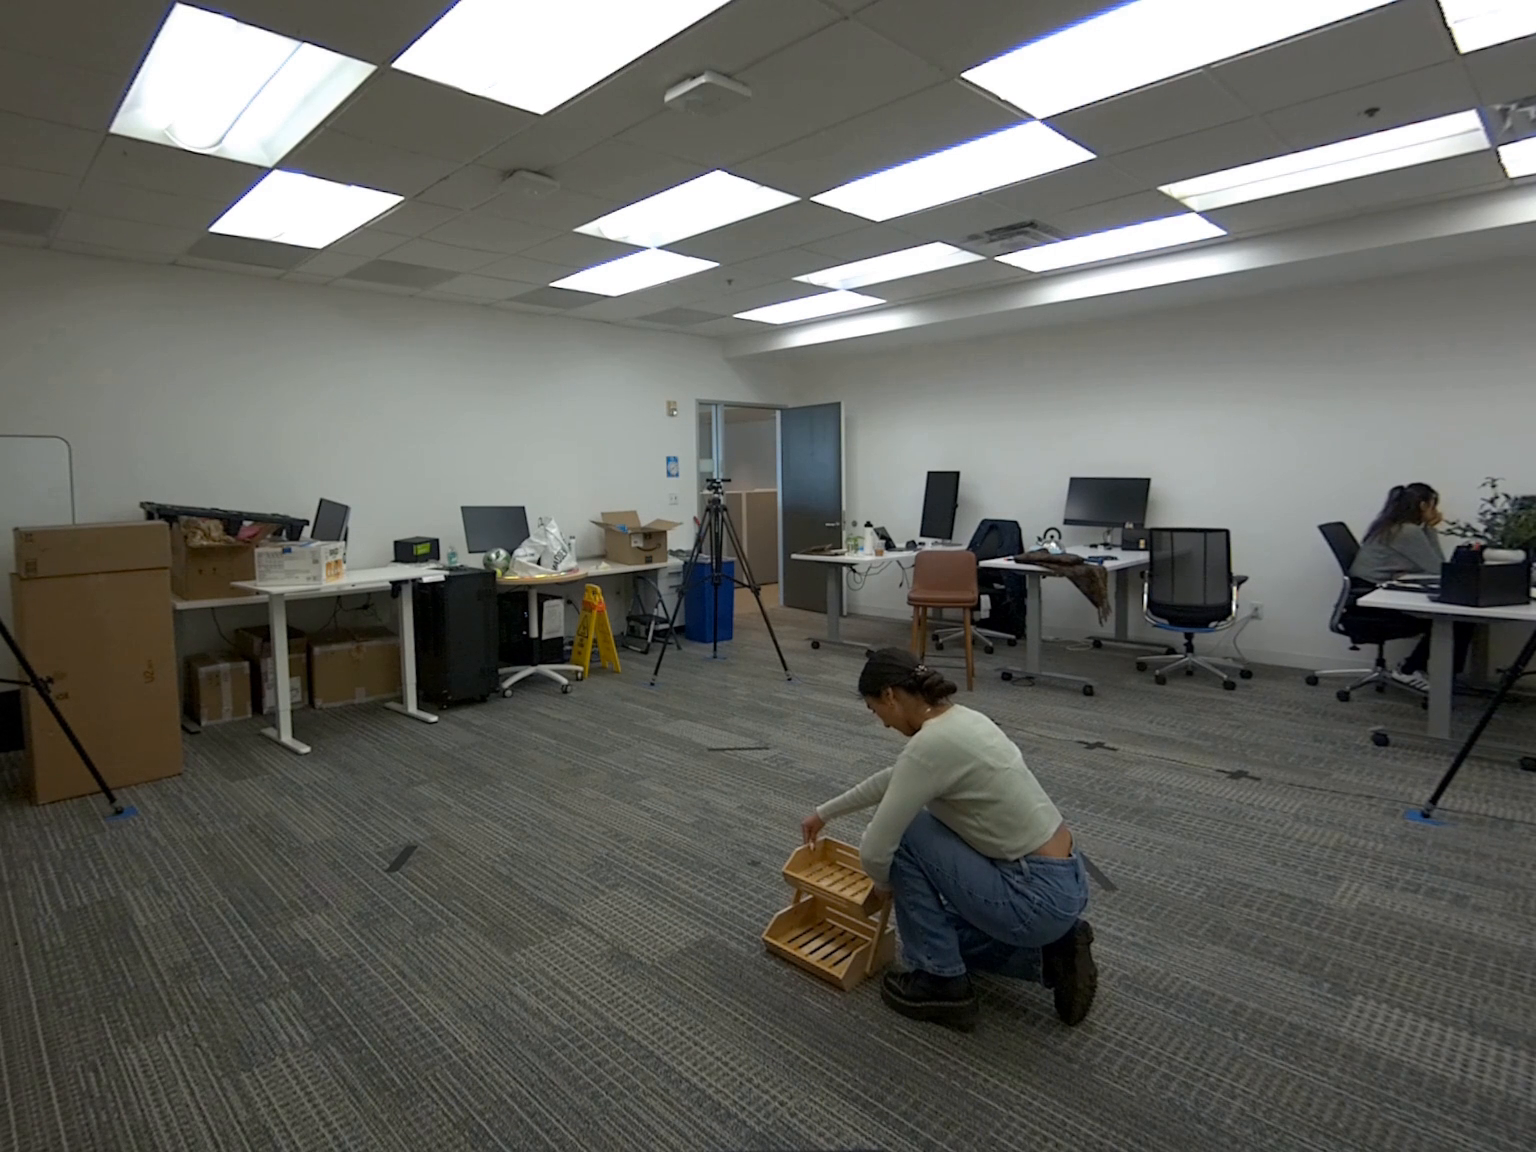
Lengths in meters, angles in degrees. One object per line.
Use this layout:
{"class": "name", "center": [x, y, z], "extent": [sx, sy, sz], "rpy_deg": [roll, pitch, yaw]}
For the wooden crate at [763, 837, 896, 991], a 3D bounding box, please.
{"class": "wooden crate", "center": [0.199, 0.977, 2.508], "extent": [0.334, 0.272, 0.294], "rpy_deg": [4, 6, 45]}
